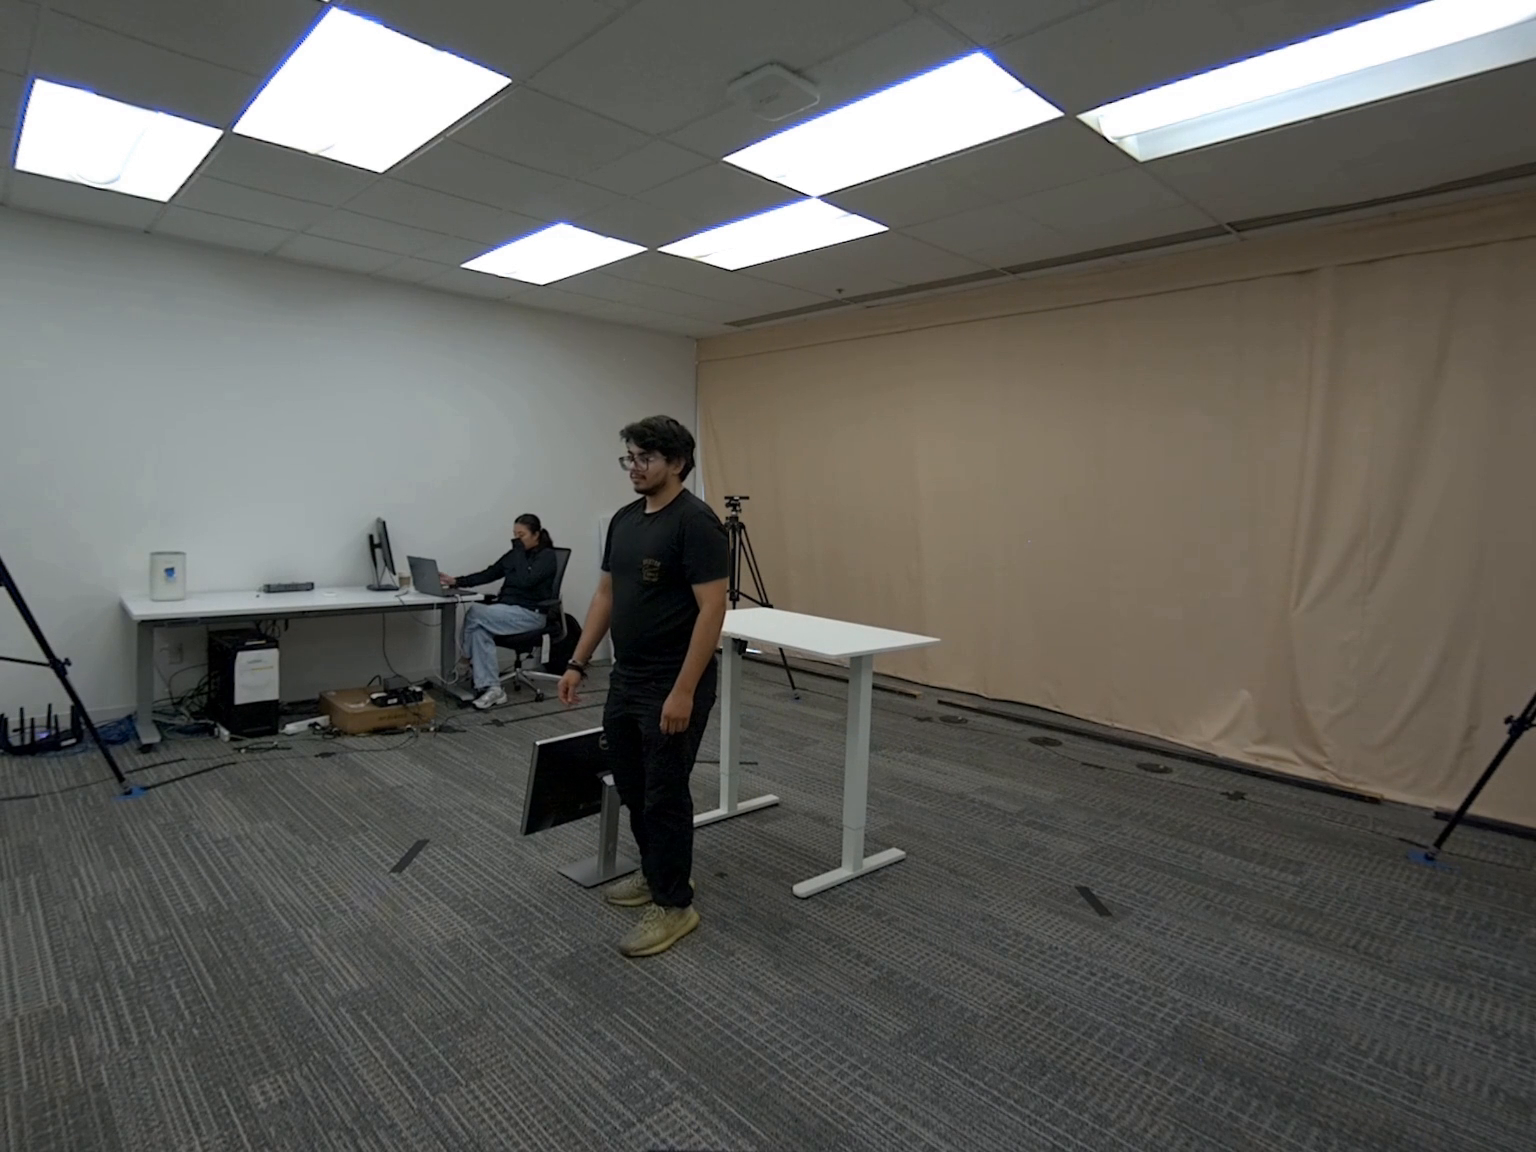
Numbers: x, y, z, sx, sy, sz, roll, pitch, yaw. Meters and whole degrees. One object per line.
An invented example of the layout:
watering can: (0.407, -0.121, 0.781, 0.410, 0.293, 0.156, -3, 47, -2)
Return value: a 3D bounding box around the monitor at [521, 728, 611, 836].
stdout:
monitor: (-0.600, 0.827, 3.083, 0.216, 0.551, 0.552, 13, 11, 43)
